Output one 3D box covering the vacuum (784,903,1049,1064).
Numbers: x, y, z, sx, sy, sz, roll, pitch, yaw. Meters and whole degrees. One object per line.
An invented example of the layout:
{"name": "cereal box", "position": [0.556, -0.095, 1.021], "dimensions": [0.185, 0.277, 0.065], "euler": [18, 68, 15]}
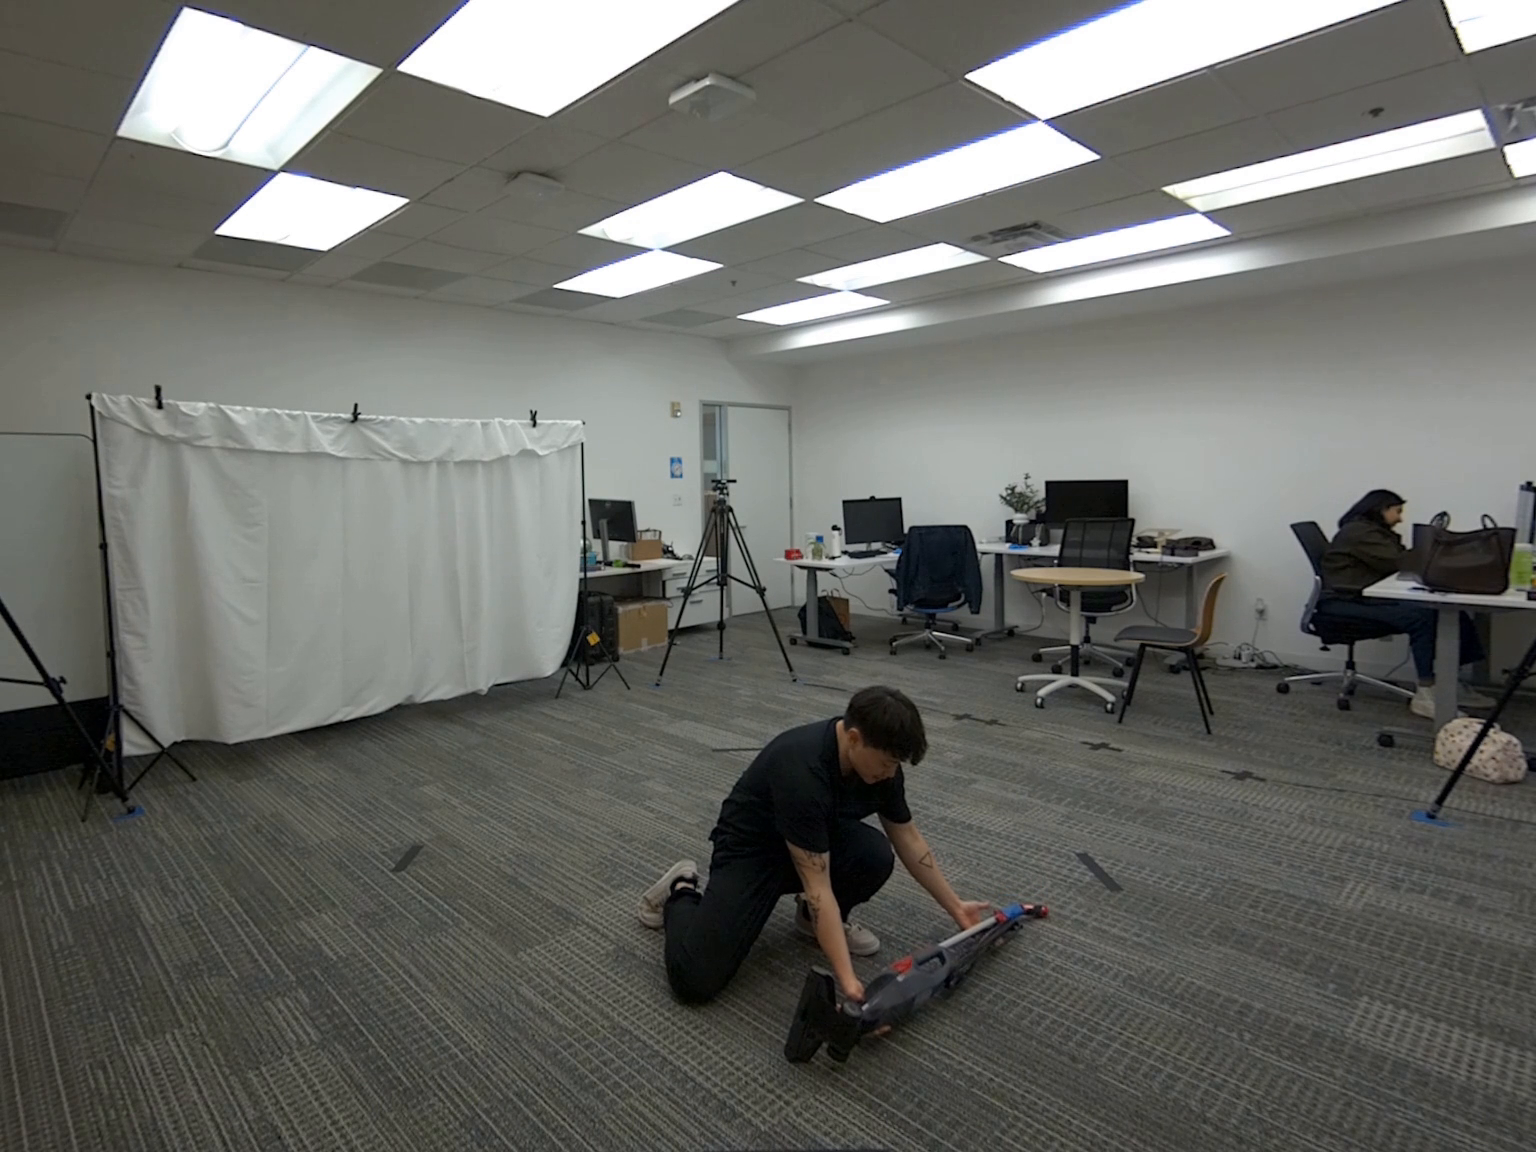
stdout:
{"name": "vacuum", "position": [0.493, 1.052, 2.357], "dimensions": [1.019, 0.250, 0.149], "euler": [1, 21, -40]}
